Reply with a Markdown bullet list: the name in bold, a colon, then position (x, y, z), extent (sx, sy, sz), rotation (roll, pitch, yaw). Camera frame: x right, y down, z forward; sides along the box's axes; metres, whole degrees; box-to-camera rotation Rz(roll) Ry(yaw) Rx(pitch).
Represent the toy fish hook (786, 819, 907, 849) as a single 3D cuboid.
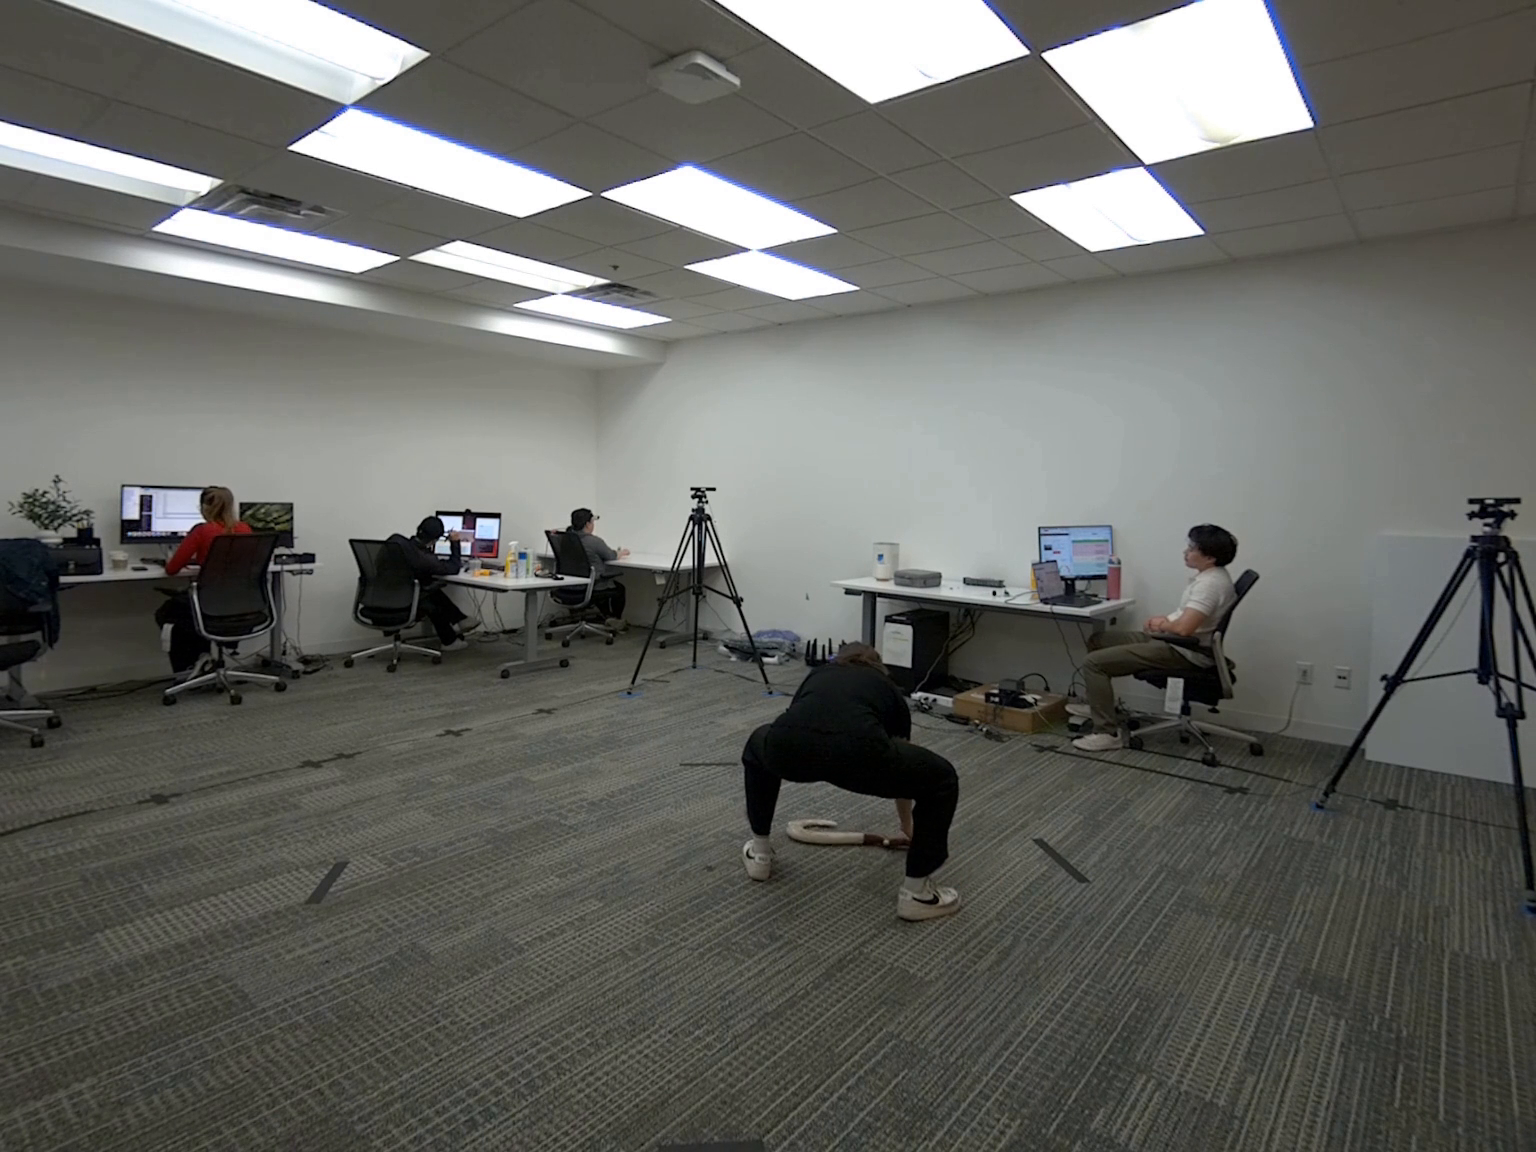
- **toy fish hook**: position (0.323, 1.027, 3.412), extent (0.512, 0.048, 0.223), rotation (2, 8, 10)
